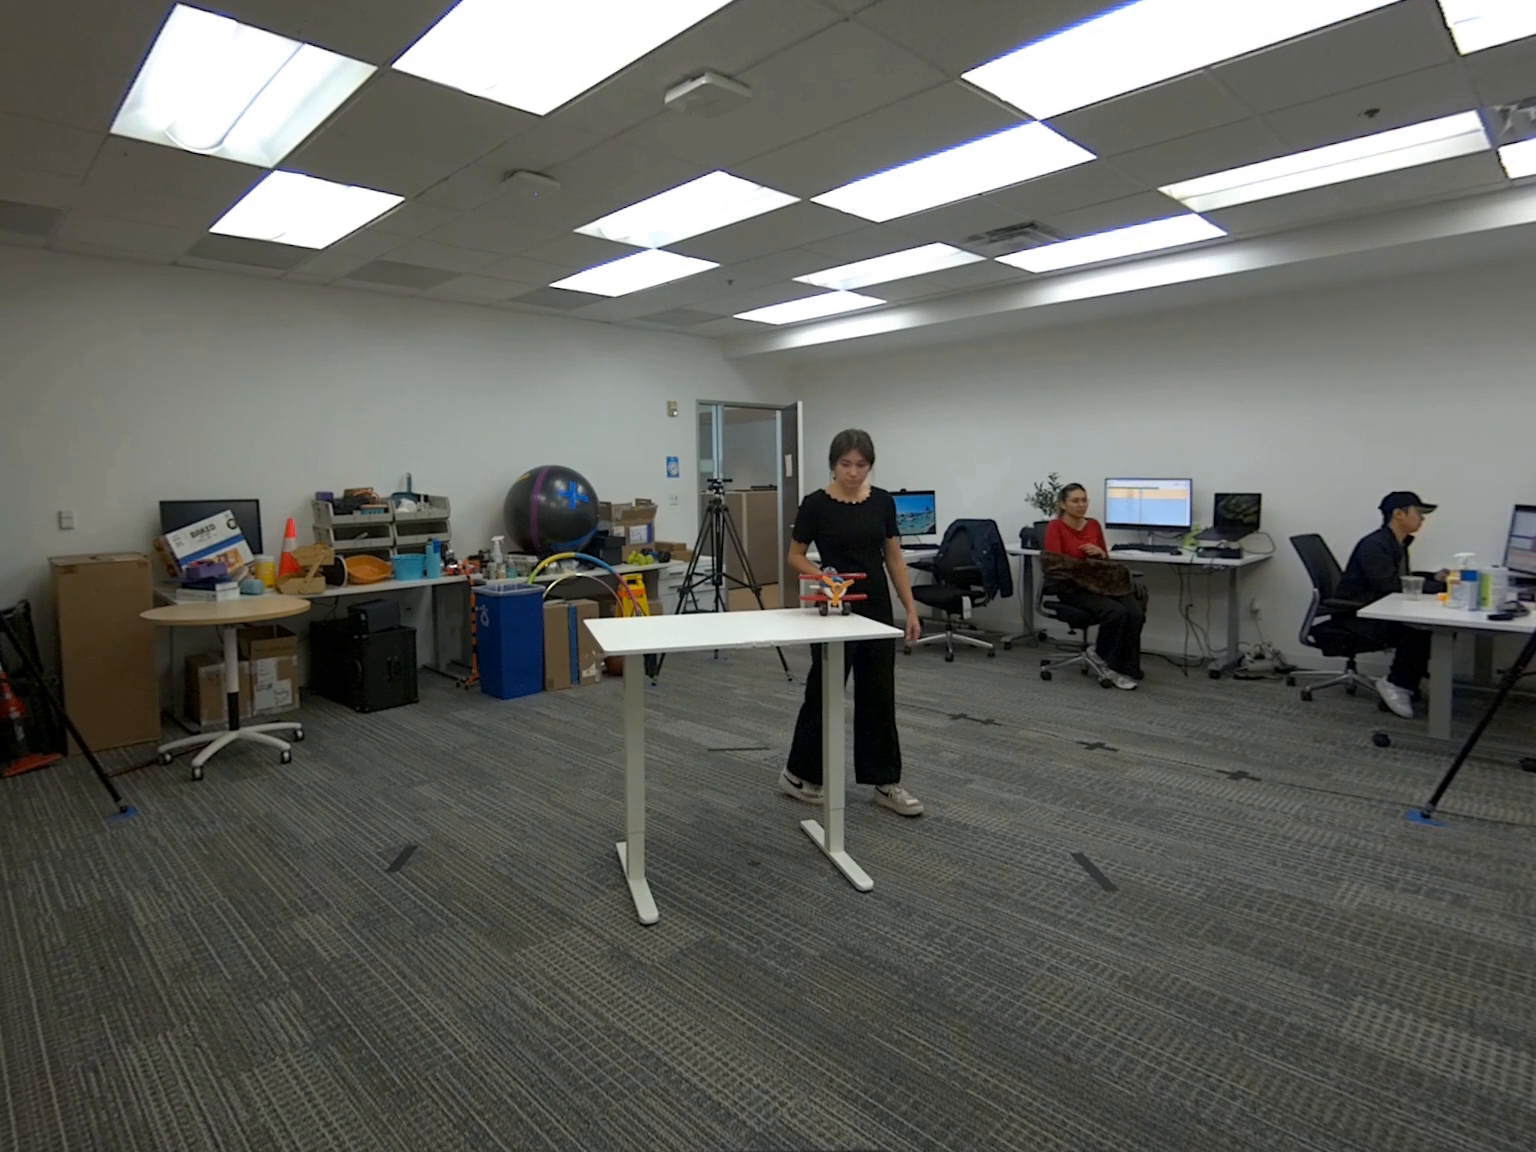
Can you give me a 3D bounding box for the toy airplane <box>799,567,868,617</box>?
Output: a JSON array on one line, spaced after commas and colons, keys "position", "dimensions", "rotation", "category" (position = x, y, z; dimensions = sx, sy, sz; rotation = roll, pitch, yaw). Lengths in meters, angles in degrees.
[{"position": [0.224, 0.053, 3.277], "dimensions": [0.245, 0.154, 0.268], "rotation": [-9, 17, -31], "category": "toy airplane"}]
